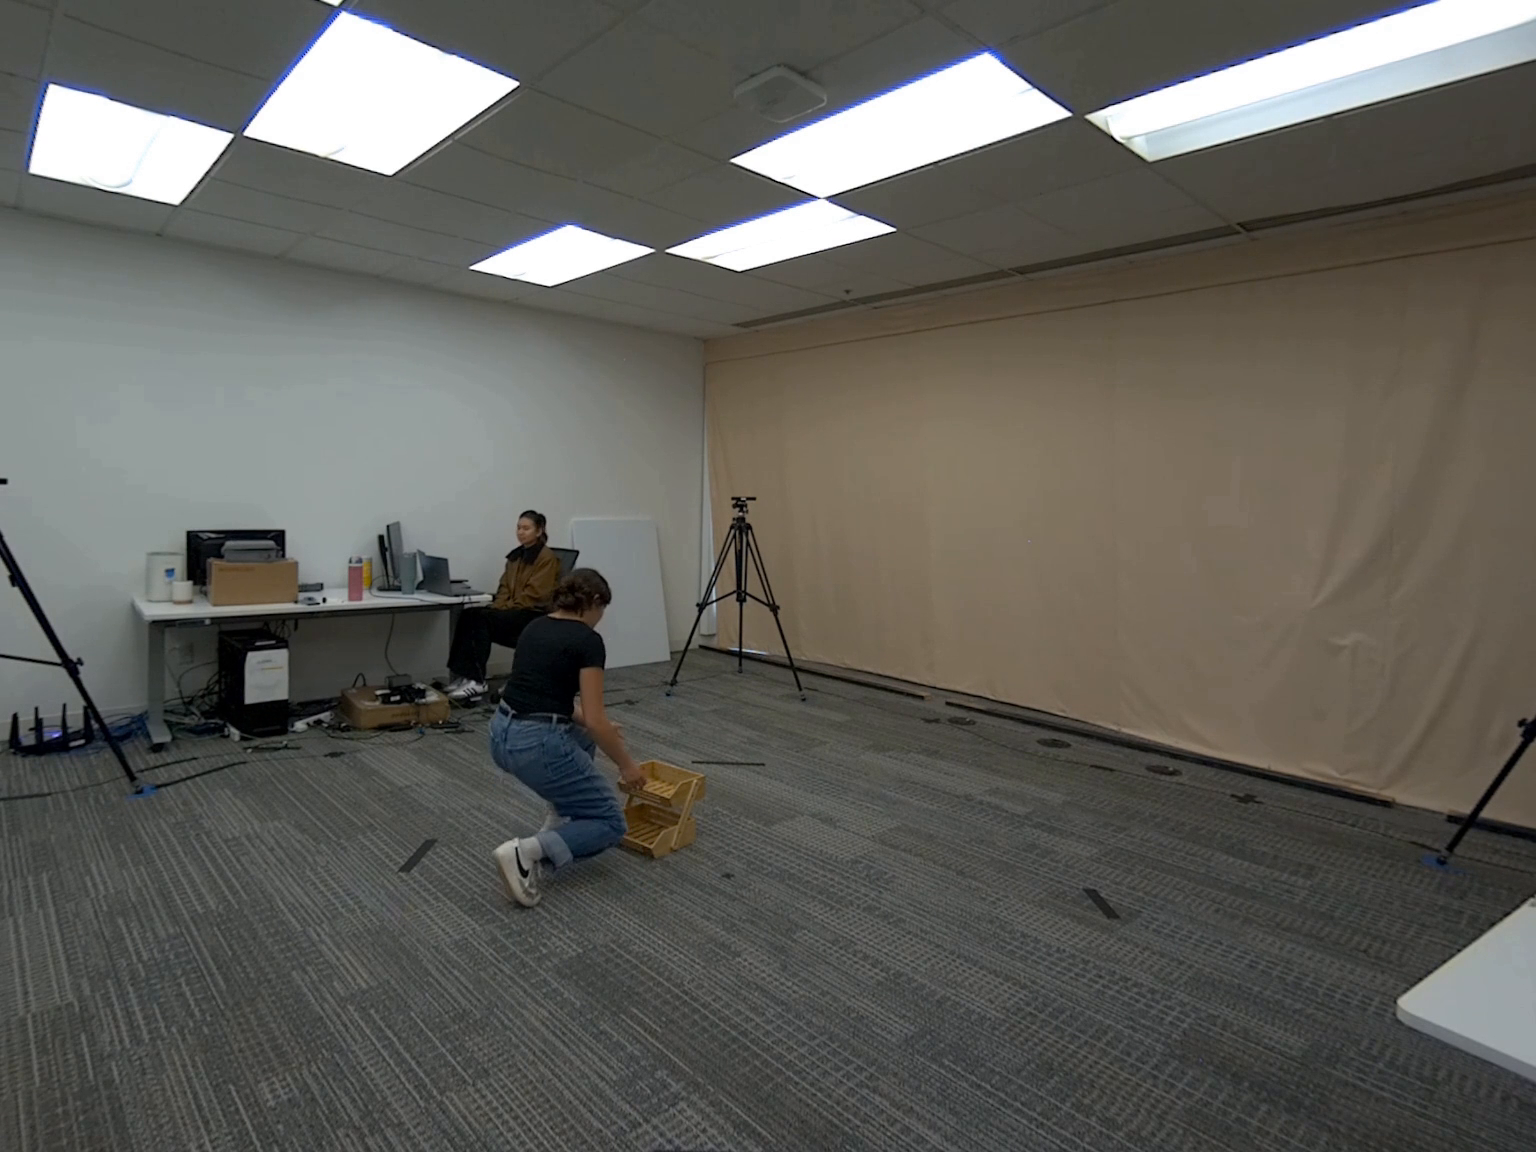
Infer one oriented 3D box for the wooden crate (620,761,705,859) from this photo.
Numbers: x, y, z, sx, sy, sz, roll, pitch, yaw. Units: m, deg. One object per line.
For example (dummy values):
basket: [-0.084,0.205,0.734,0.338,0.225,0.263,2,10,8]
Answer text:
wooden crate: [-0.481,0.939,3.426,0.332,0.273,0.295,4,5,38]
